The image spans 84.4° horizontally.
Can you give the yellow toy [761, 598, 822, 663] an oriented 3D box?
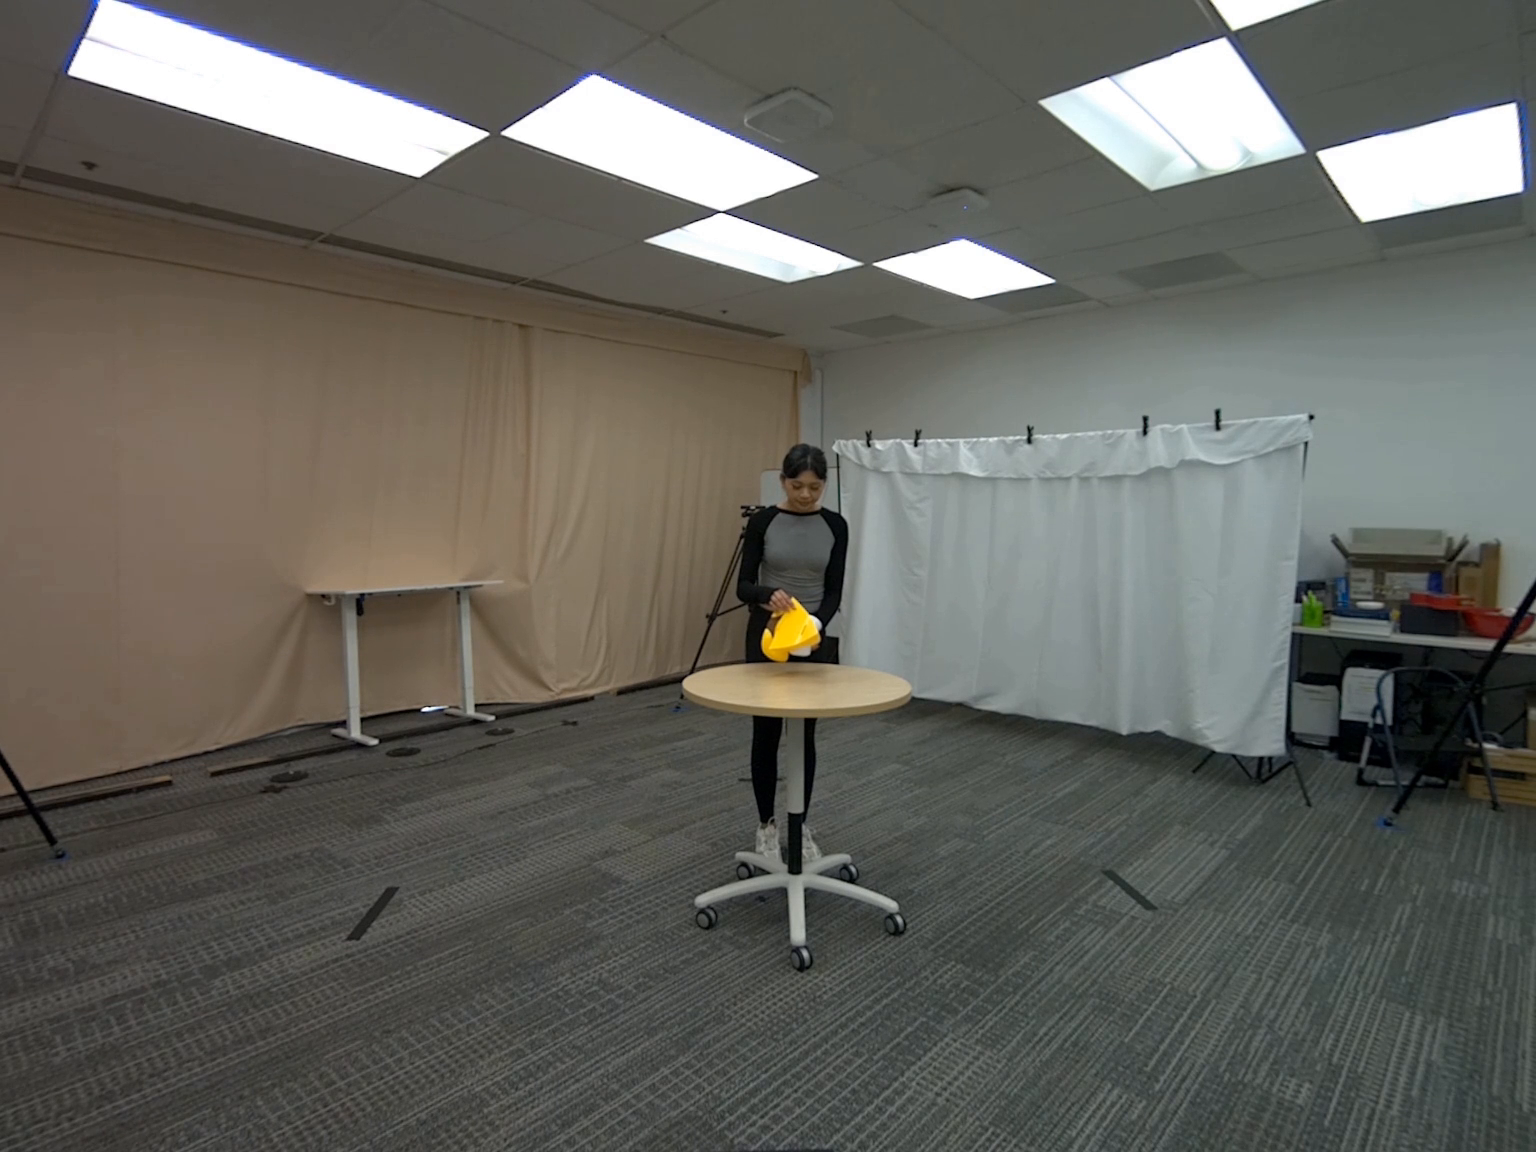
[{"bbox_3d":[0.106,0.210,2.940,0.238,0.205,0.186,7,-25,47],"label":"yellow toy"}]
